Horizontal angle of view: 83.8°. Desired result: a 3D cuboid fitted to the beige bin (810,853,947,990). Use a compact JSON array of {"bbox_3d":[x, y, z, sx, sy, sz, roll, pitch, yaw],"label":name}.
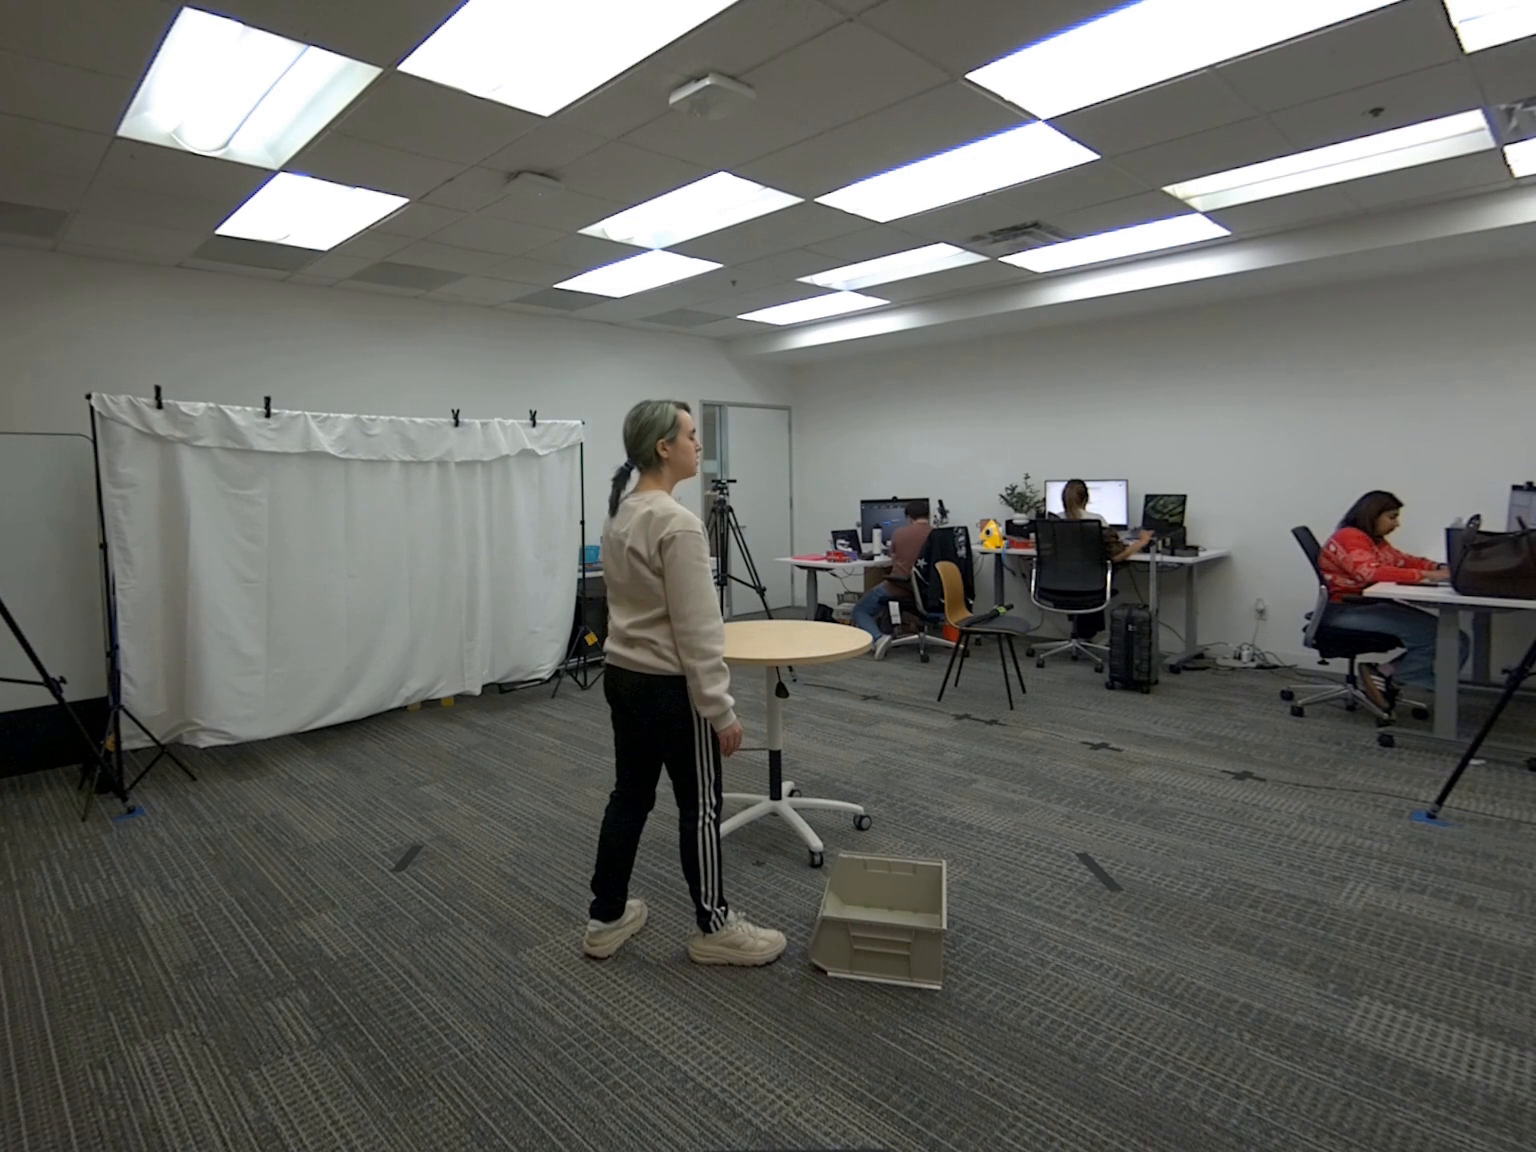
[{"bbox_3d":[0.350,1.017,2.555,0.382,0.188,0.419,1,6,12],"label":"beige bin"}]
